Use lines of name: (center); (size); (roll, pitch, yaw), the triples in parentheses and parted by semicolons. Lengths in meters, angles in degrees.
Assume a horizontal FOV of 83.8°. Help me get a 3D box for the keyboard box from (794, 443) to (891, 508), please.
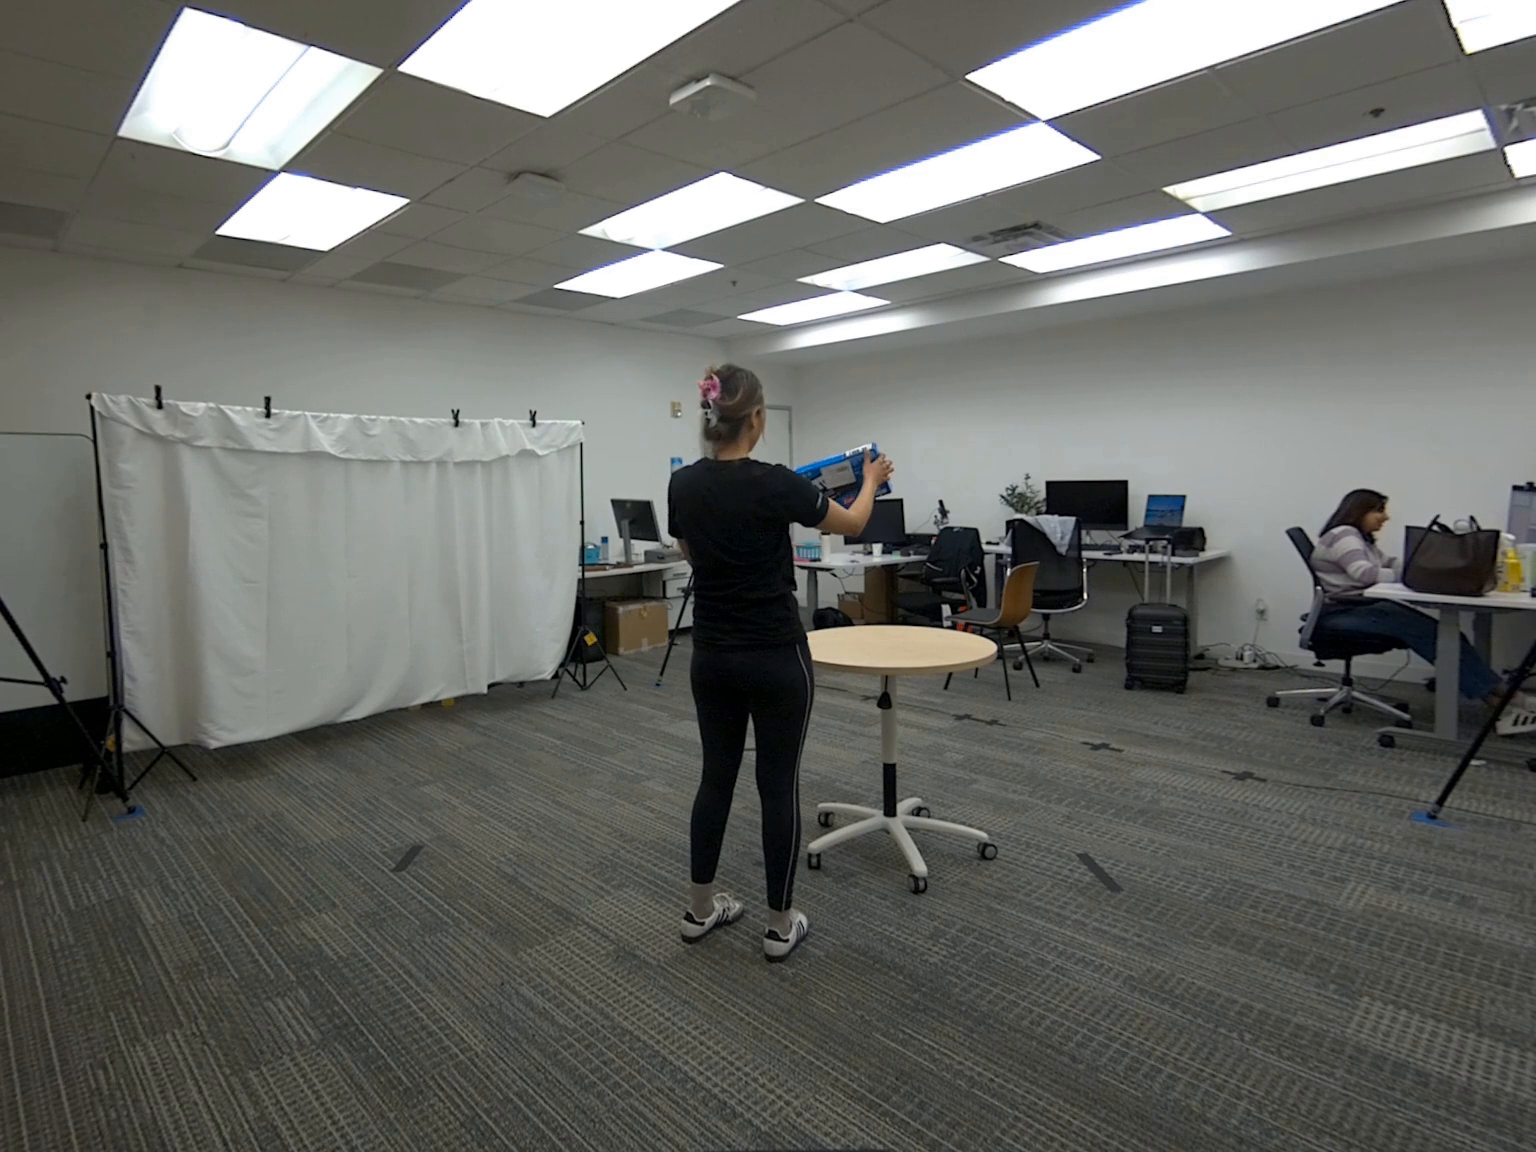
keyboard box: (0.190, -0.302, 2.926); (0.442, 0.172, 0.060); (-18, 21, 20)
